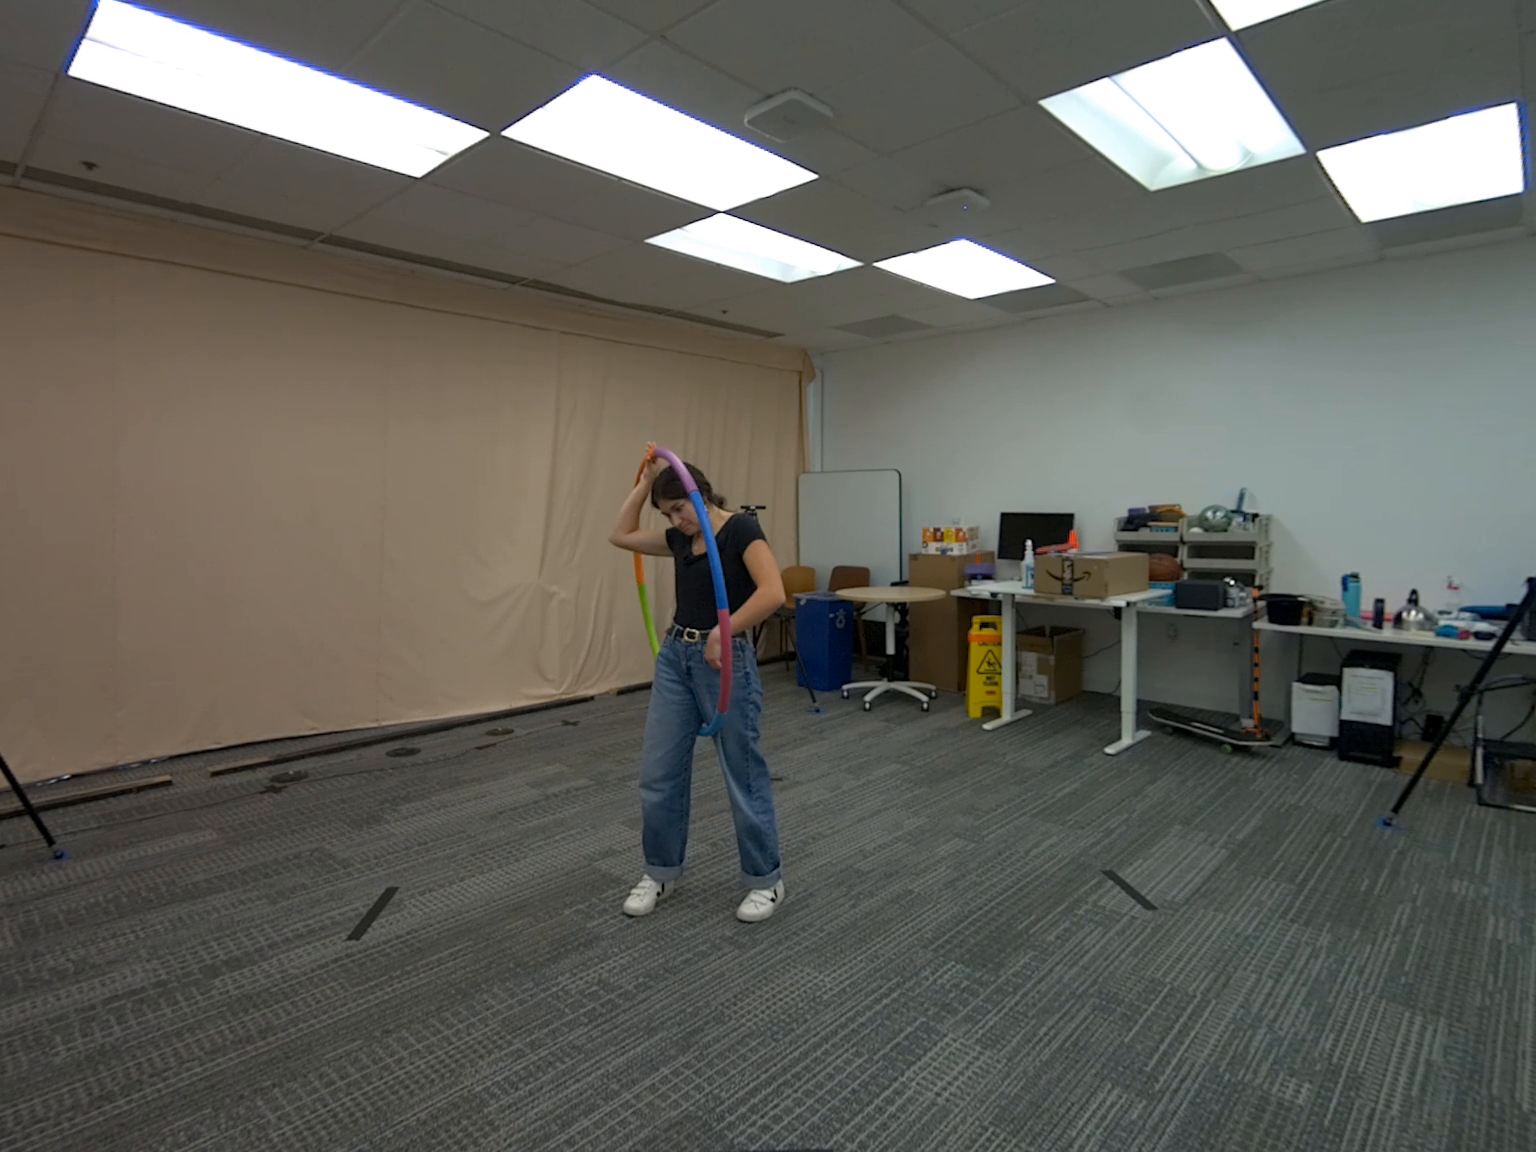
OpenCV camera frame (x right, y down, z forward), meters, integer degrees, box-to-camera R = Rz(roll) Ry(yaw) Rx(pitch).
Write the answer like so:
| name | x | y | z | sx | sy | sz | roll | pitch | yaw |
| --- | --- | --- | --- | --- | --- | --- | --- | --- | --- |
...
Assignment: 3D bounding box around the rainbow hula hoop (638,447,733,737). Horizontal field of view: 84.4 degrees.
| name | x | y | z | sx | sy | sz | roll | pitch | yaw |
| --- | --- | --- | --- | --- | --- | --- | --- | --- | --- |
| rainbow hula hoop | -0.310 | 0.055 | 2.915 | 0.035 | 0.975 | 1.003 | -7 | 6 | -23 |
